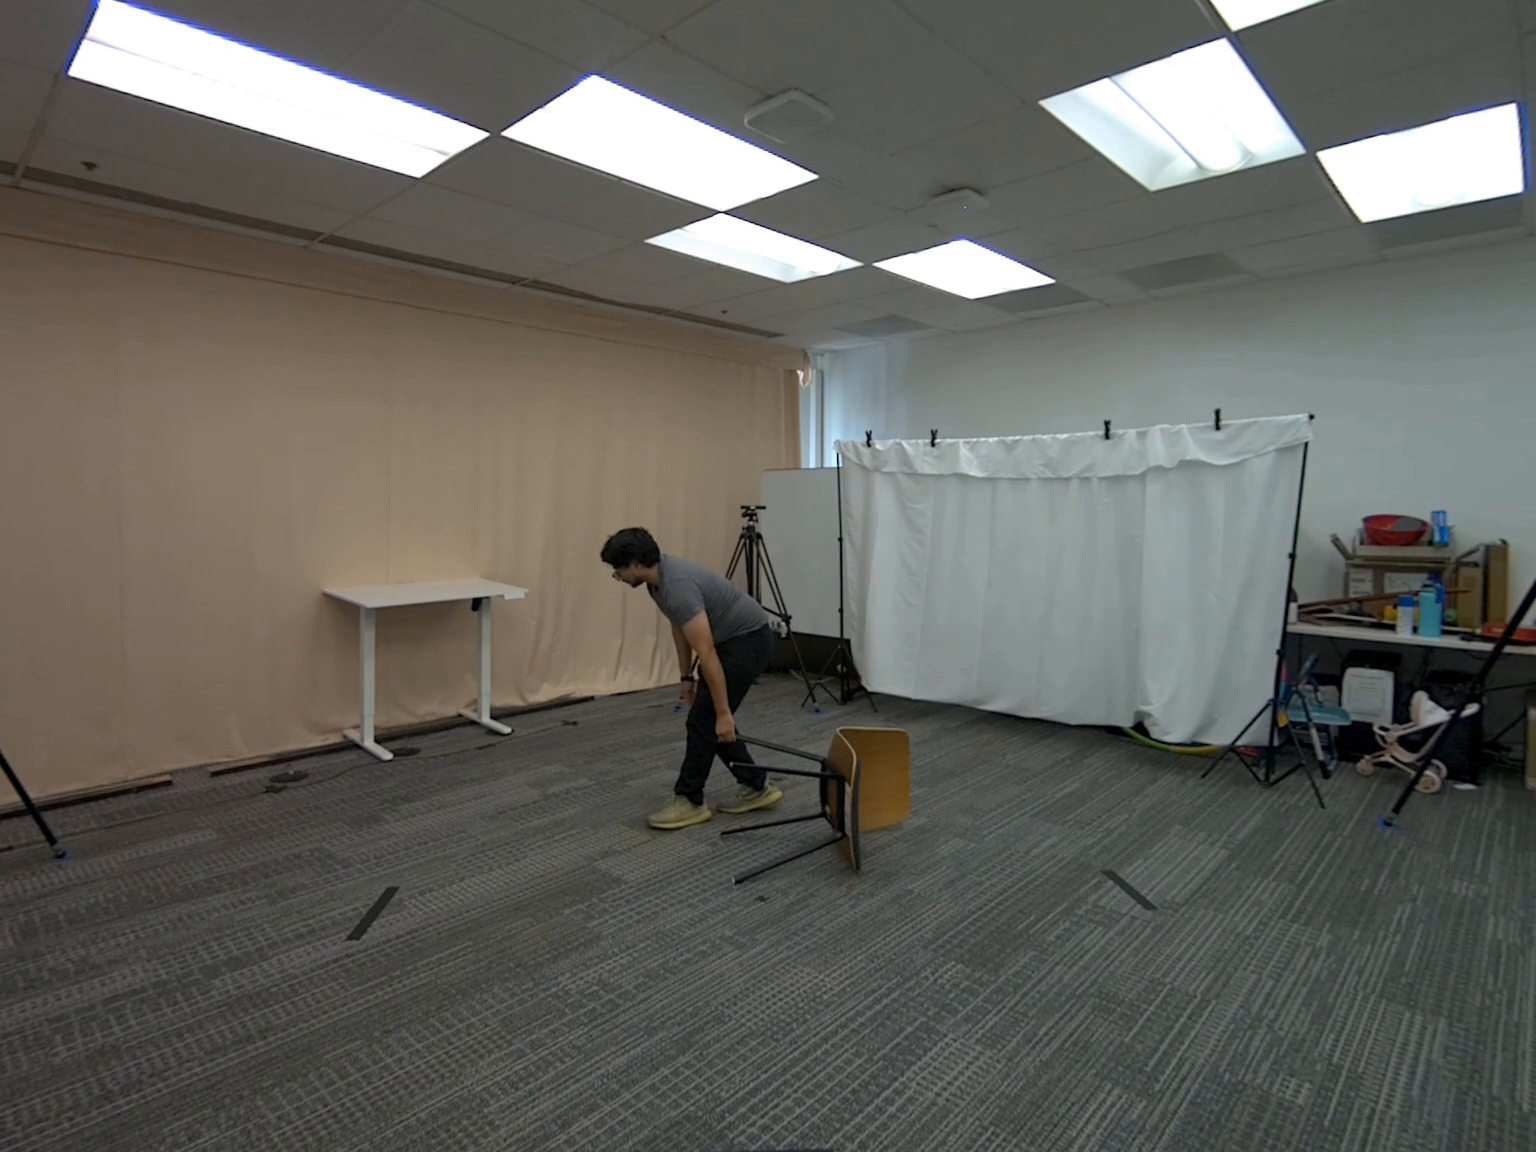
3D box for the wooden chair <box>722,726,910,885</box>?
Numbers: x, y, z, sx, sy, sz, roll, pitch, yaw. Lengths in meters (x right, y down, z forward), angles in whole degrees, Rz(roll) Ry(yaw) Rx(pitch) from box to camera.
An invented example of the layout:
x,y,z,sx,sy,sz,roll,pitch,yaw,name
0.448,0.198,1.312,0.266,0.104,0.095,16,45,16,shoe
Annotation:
x,y,z,sx,sy,sz,roll,pitch,yaw,name
0.260,0.882,3.342,0.867,0.477,0.531,-1,5,-11,wooden chair
